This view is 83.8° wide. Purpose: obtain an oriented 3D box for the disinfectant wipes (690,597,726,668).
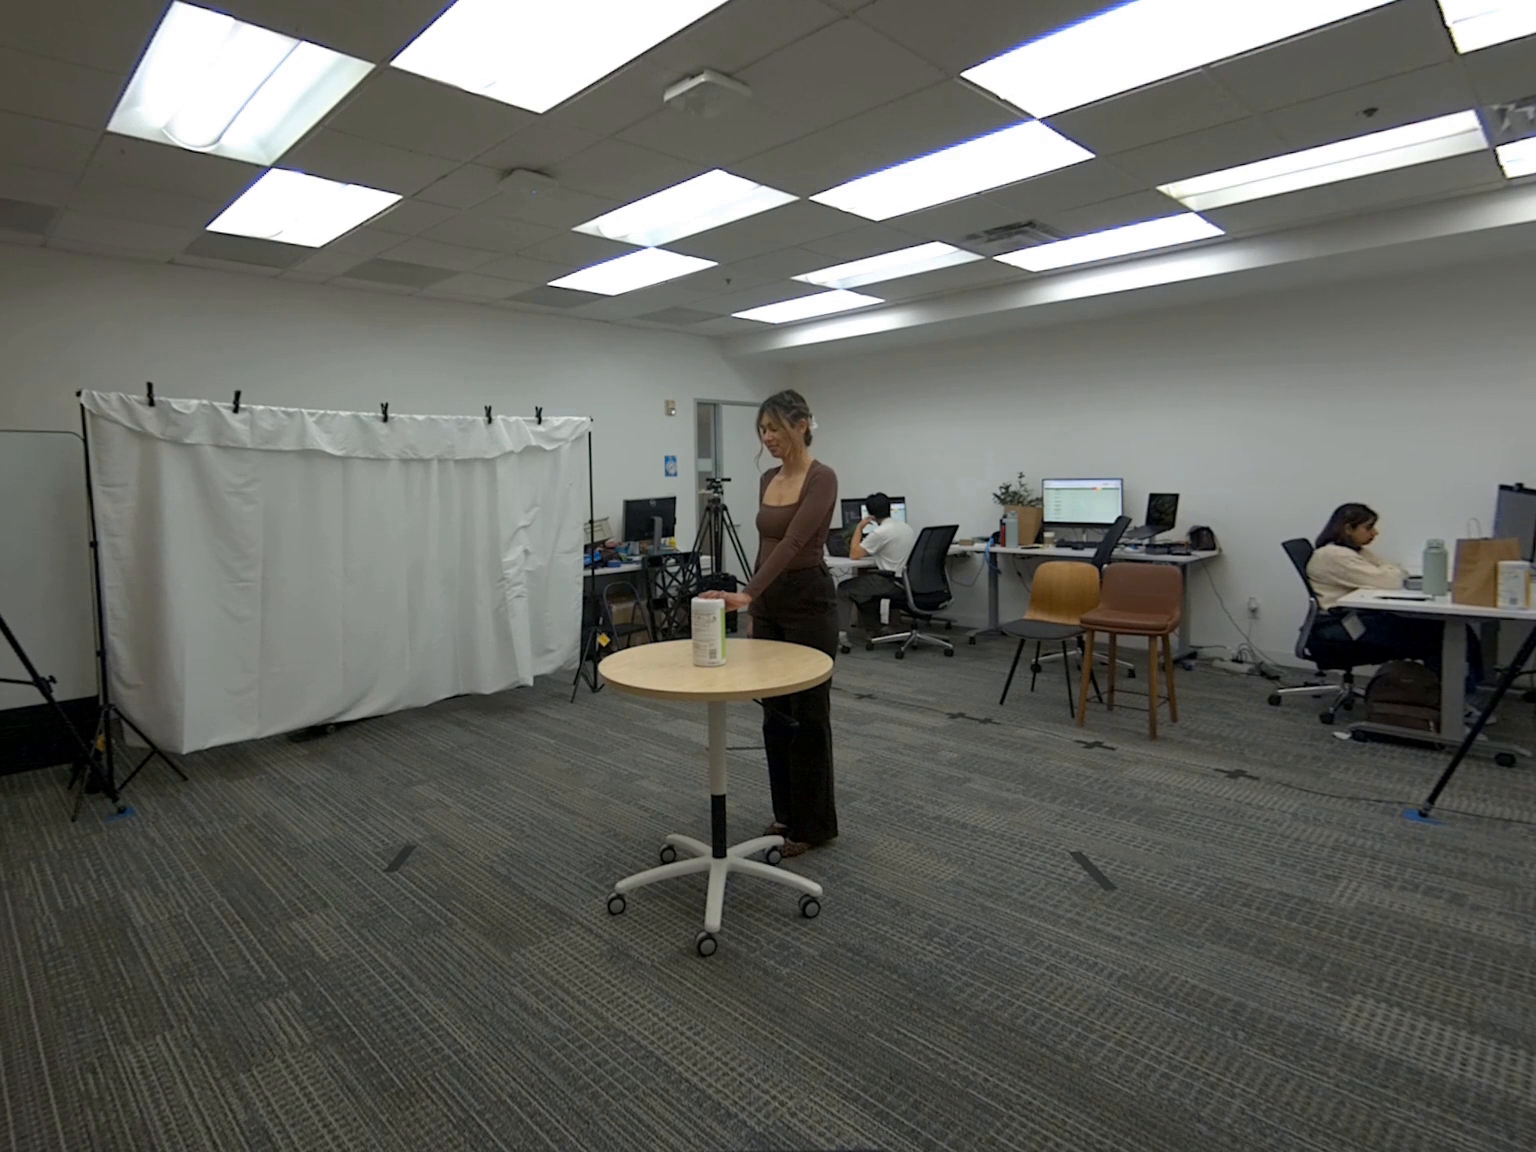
[{"bbox_3d":[-0.187,0.181,2.765,0.118,0.217,0.118,0,3,-2],"label":"disinfectant wipes"}]
